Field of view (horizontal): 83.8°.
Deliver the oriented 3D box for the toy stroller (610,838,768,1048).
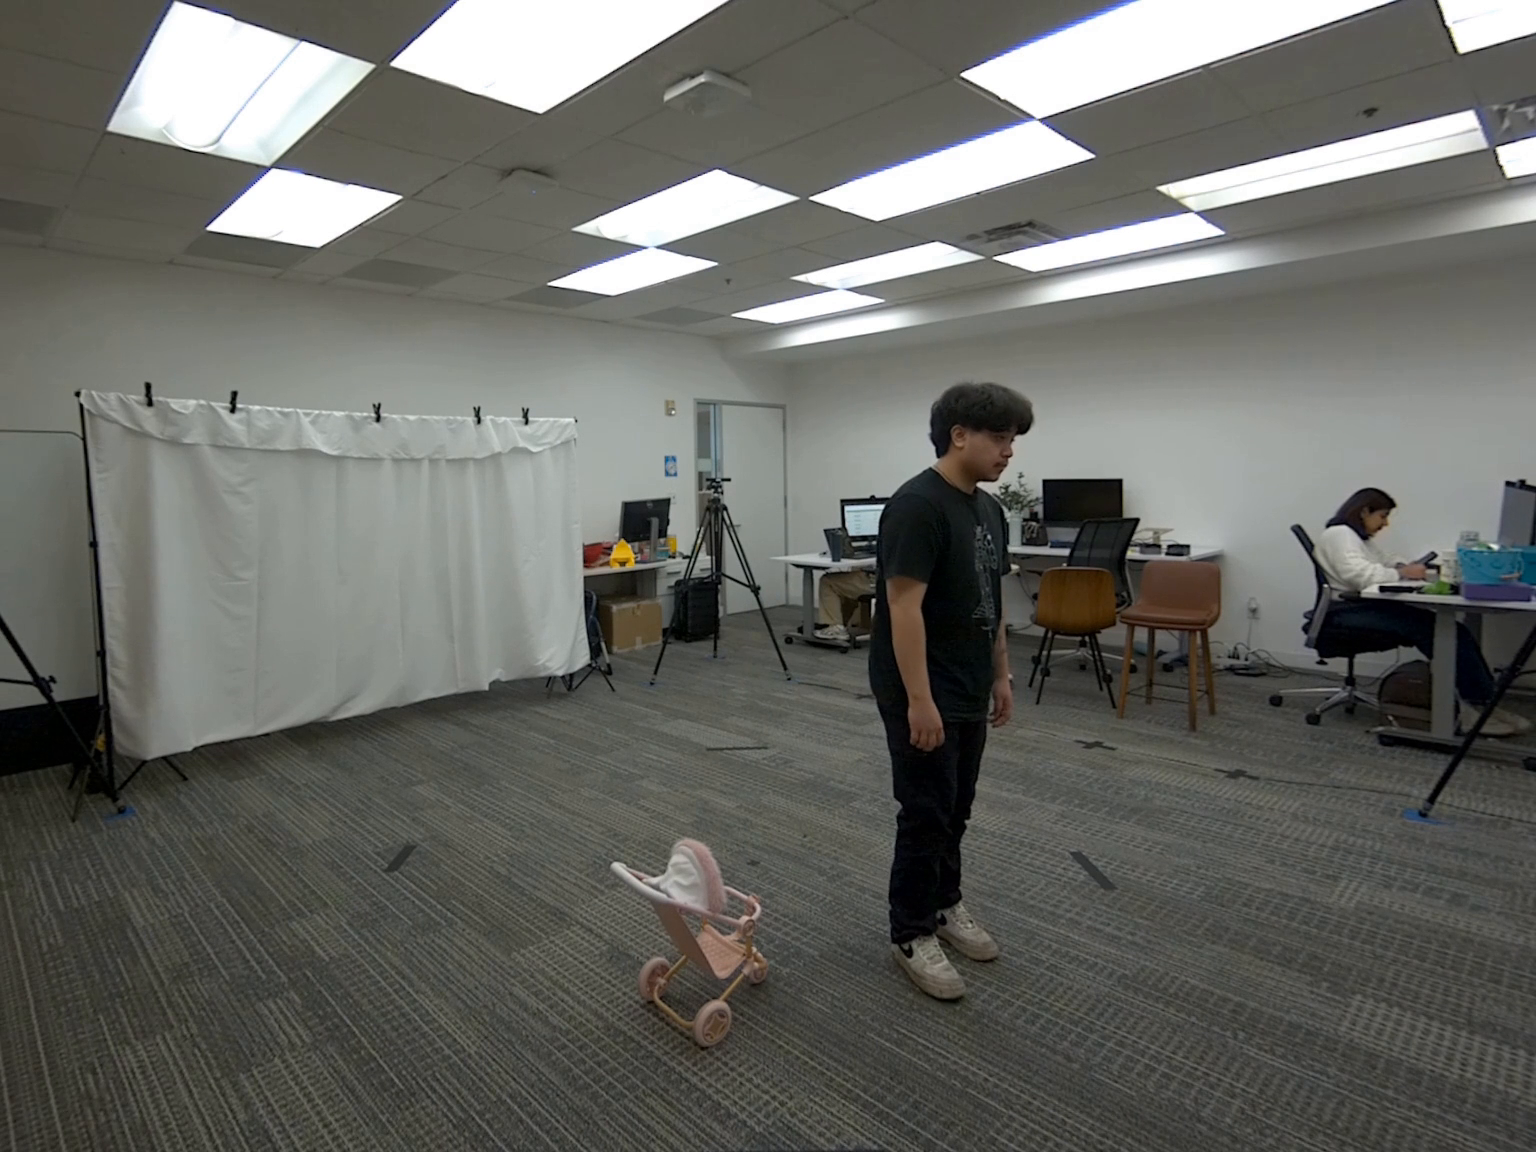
[{"bbox_3d":[-0.169,0.931,2.233,0.336,0.527,0.290,-22,16,-34],"label":"toy stroller"}]
